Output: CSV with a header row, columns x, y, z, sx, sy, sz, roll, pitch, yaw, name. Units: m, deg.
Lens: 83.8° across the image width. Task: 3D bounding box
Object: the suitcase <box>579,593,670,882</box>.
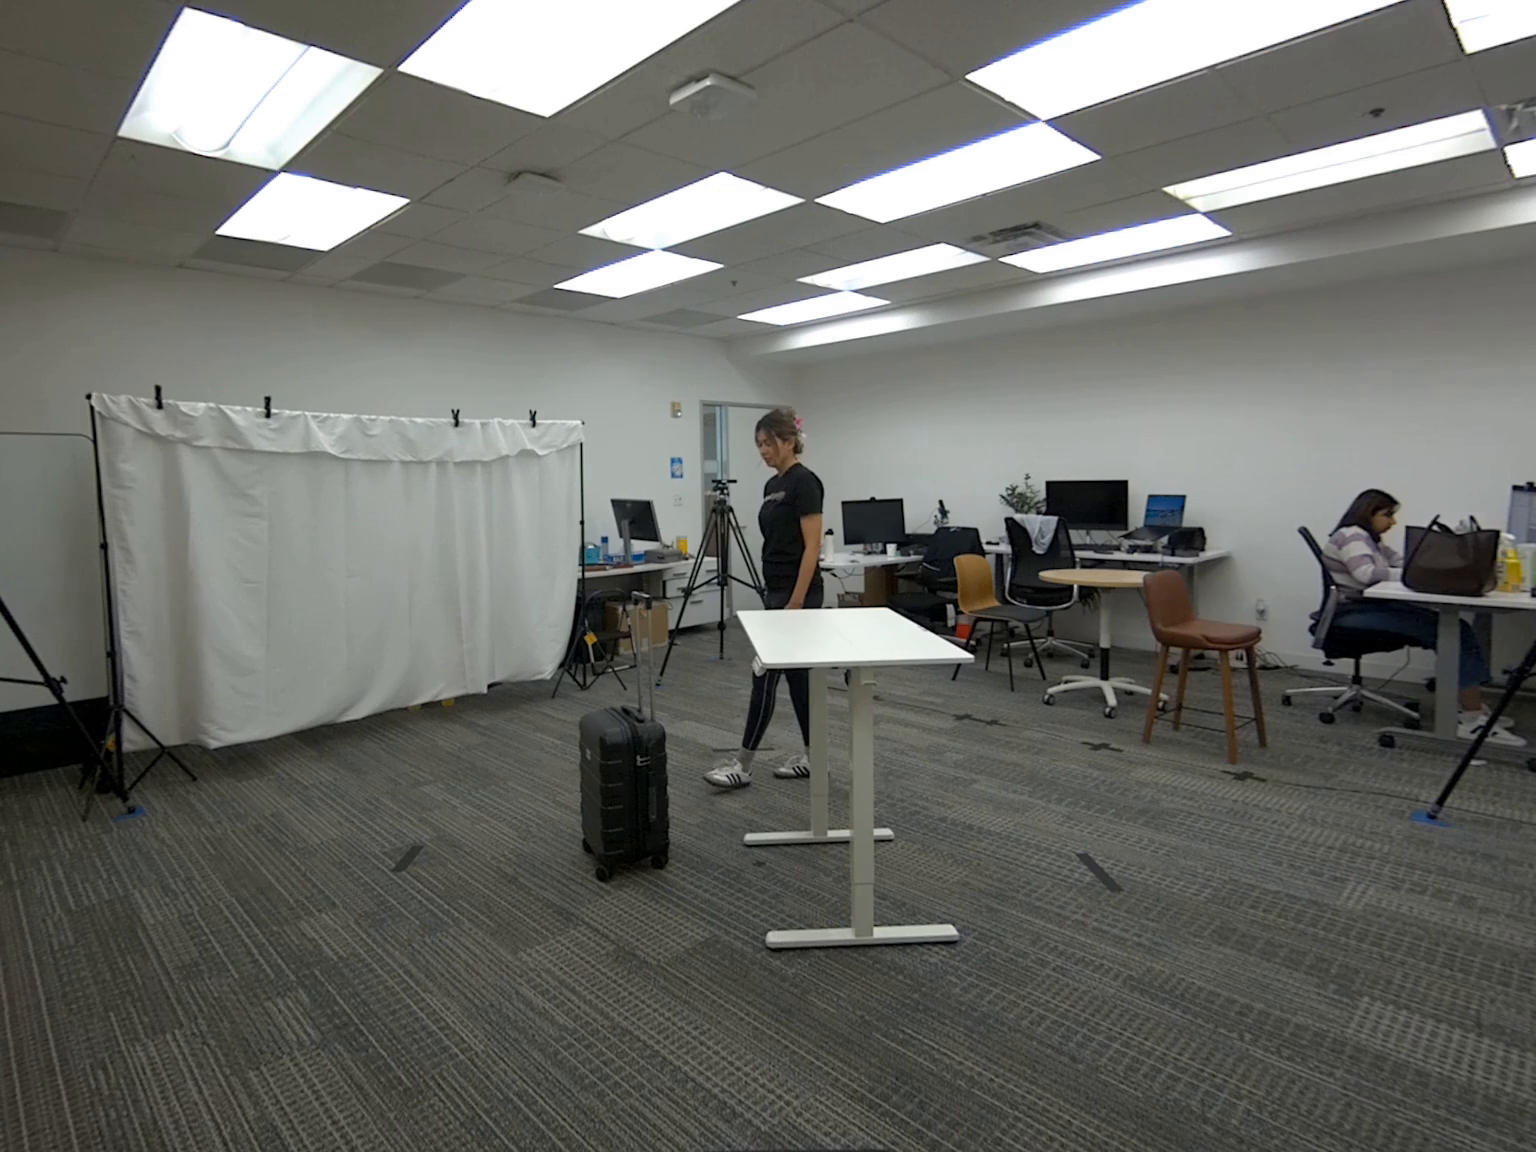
x,y,z,sx,sy,sz,roll,pitch,yaw,name
-0.542,0.572,3.141,0.252,0.975,0.393,-3,5,-23,suitcase
